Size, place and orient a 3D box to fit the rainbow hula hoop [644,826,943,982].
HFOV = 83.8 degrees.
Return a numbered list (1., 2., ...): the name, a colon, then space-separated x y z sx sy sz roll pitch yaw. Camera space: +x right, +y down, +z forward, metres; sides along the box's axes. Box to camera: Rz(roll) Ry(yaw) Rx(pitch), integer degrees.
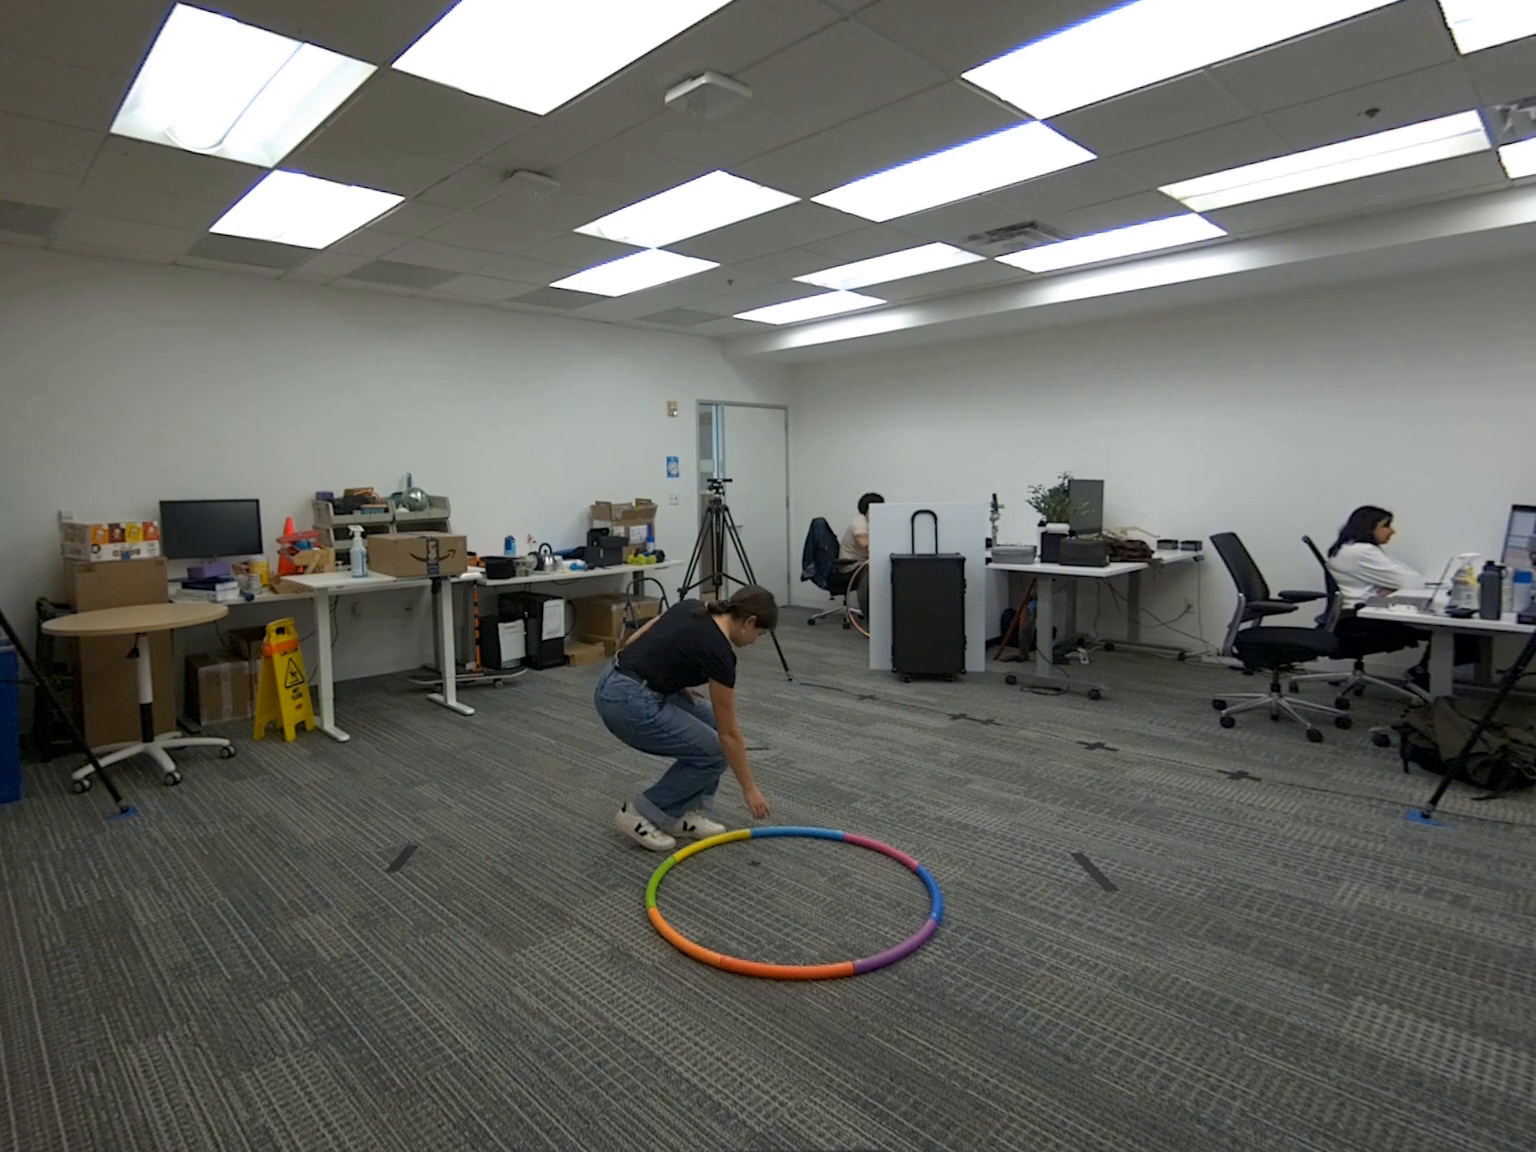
1. rainbow hula hoop: 0.080 1.038 2.868 0.978 0.035 0.984 -1 7 -2
